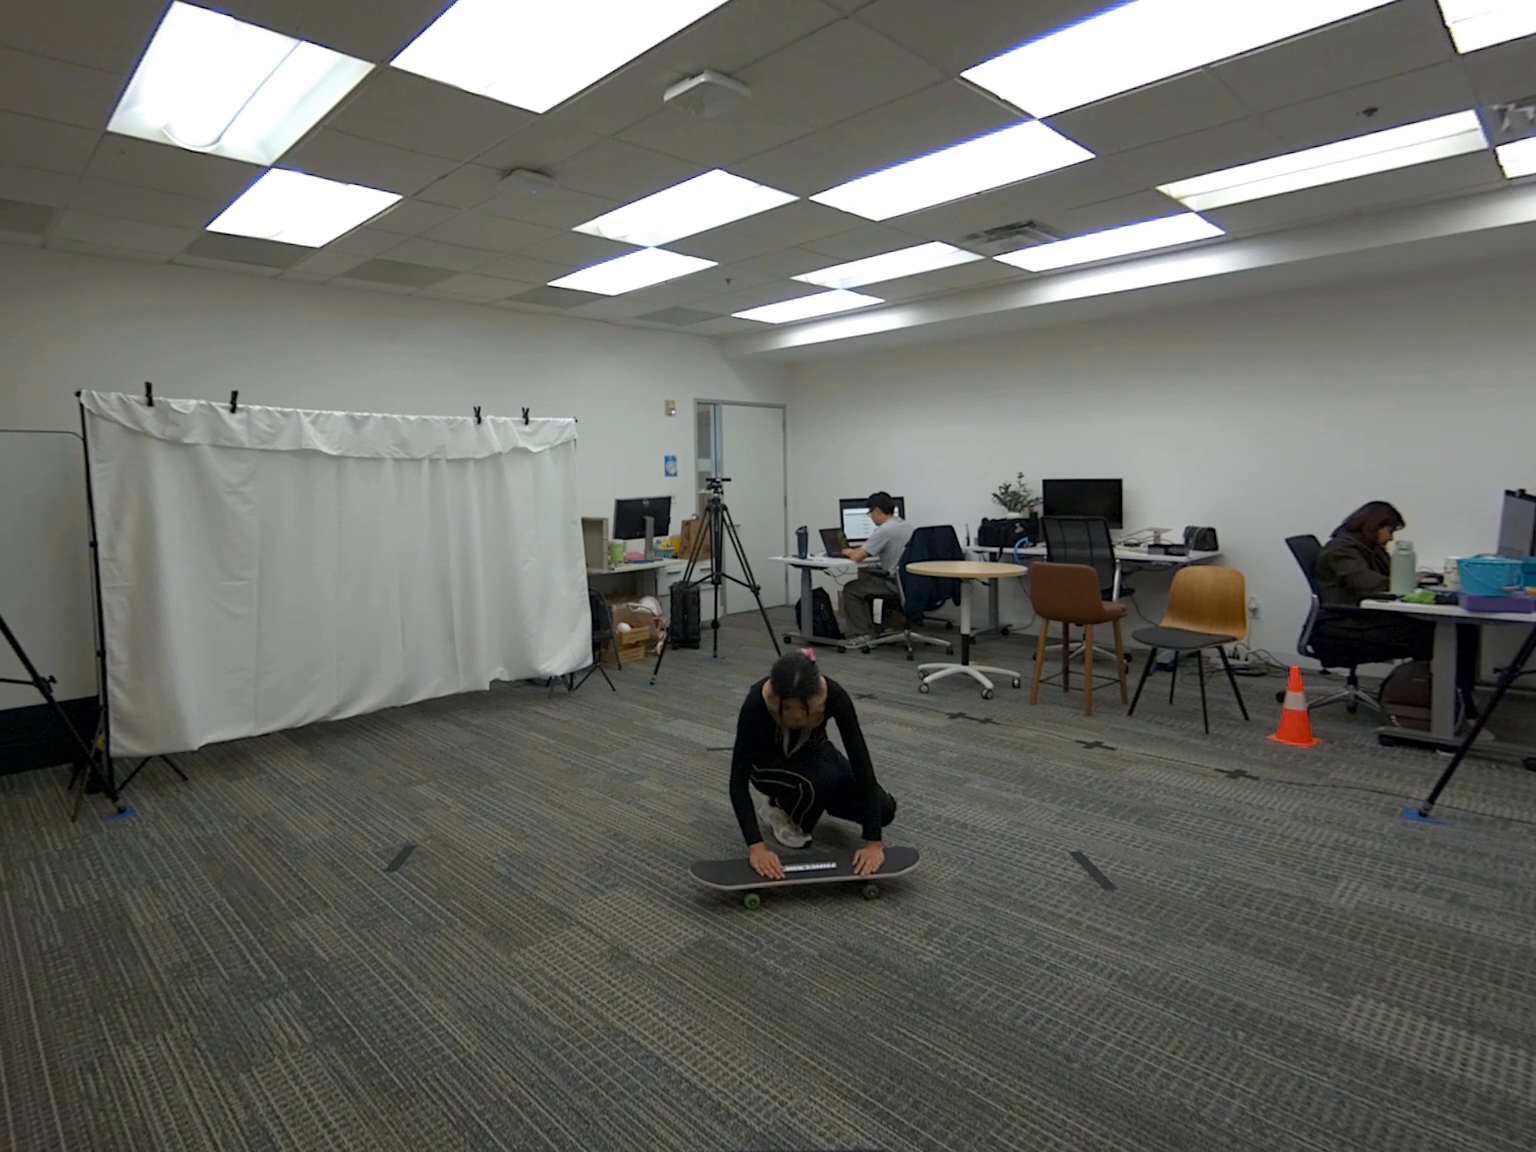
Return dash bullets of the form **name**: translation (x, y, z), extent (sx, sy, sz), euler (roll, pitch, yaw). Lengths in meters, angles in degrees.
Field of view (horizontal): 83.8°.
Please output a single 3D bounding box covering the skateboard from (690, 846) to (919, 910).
- **skateboard**: translation (0.130, 1.007, 2.881), extent (0.779, 0.110, 0.195), euler (-2, 5, -8)
